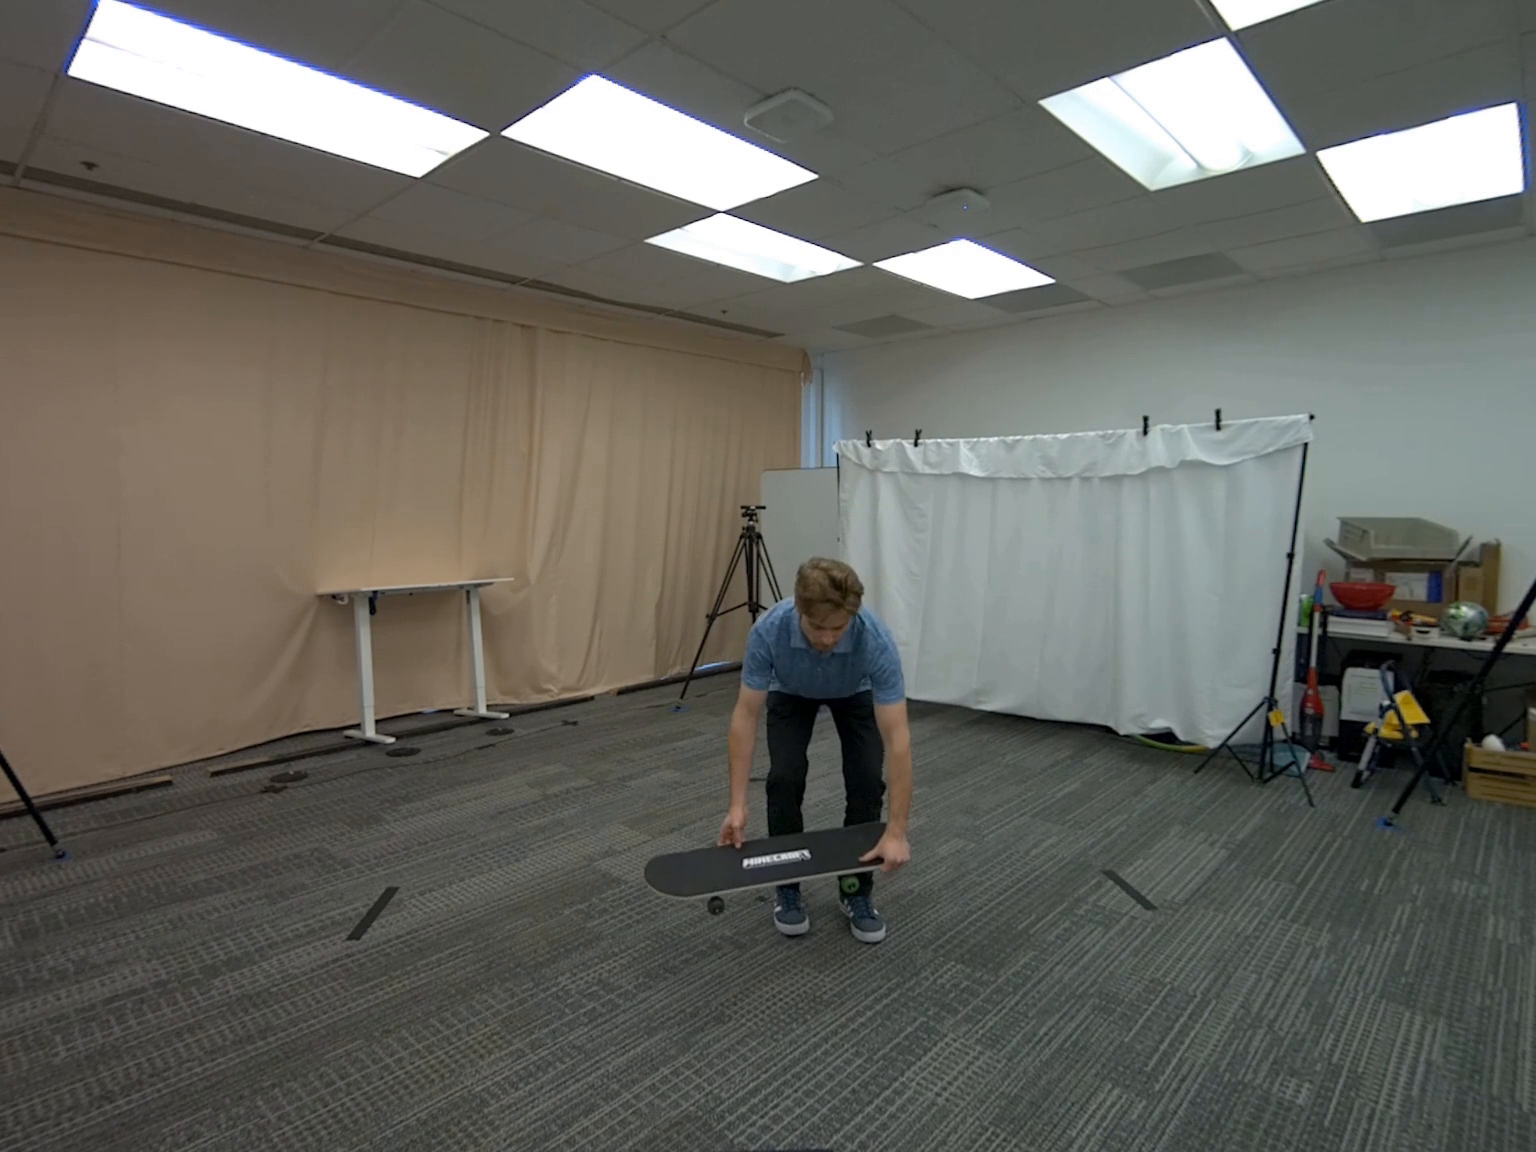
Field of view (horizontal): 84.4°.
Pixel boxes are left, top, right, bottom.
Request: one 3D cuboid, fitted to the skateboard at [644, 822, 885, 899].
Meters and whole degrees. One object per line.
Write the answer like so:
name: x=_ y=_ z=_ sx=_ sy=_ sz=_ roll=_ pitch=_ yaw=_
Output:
skateboard: x=0.033 y=0.863 z=2.486 sx=0.777 sy=0.109 sz=0.198 roll=-6 pitch=21 yaw=-11
